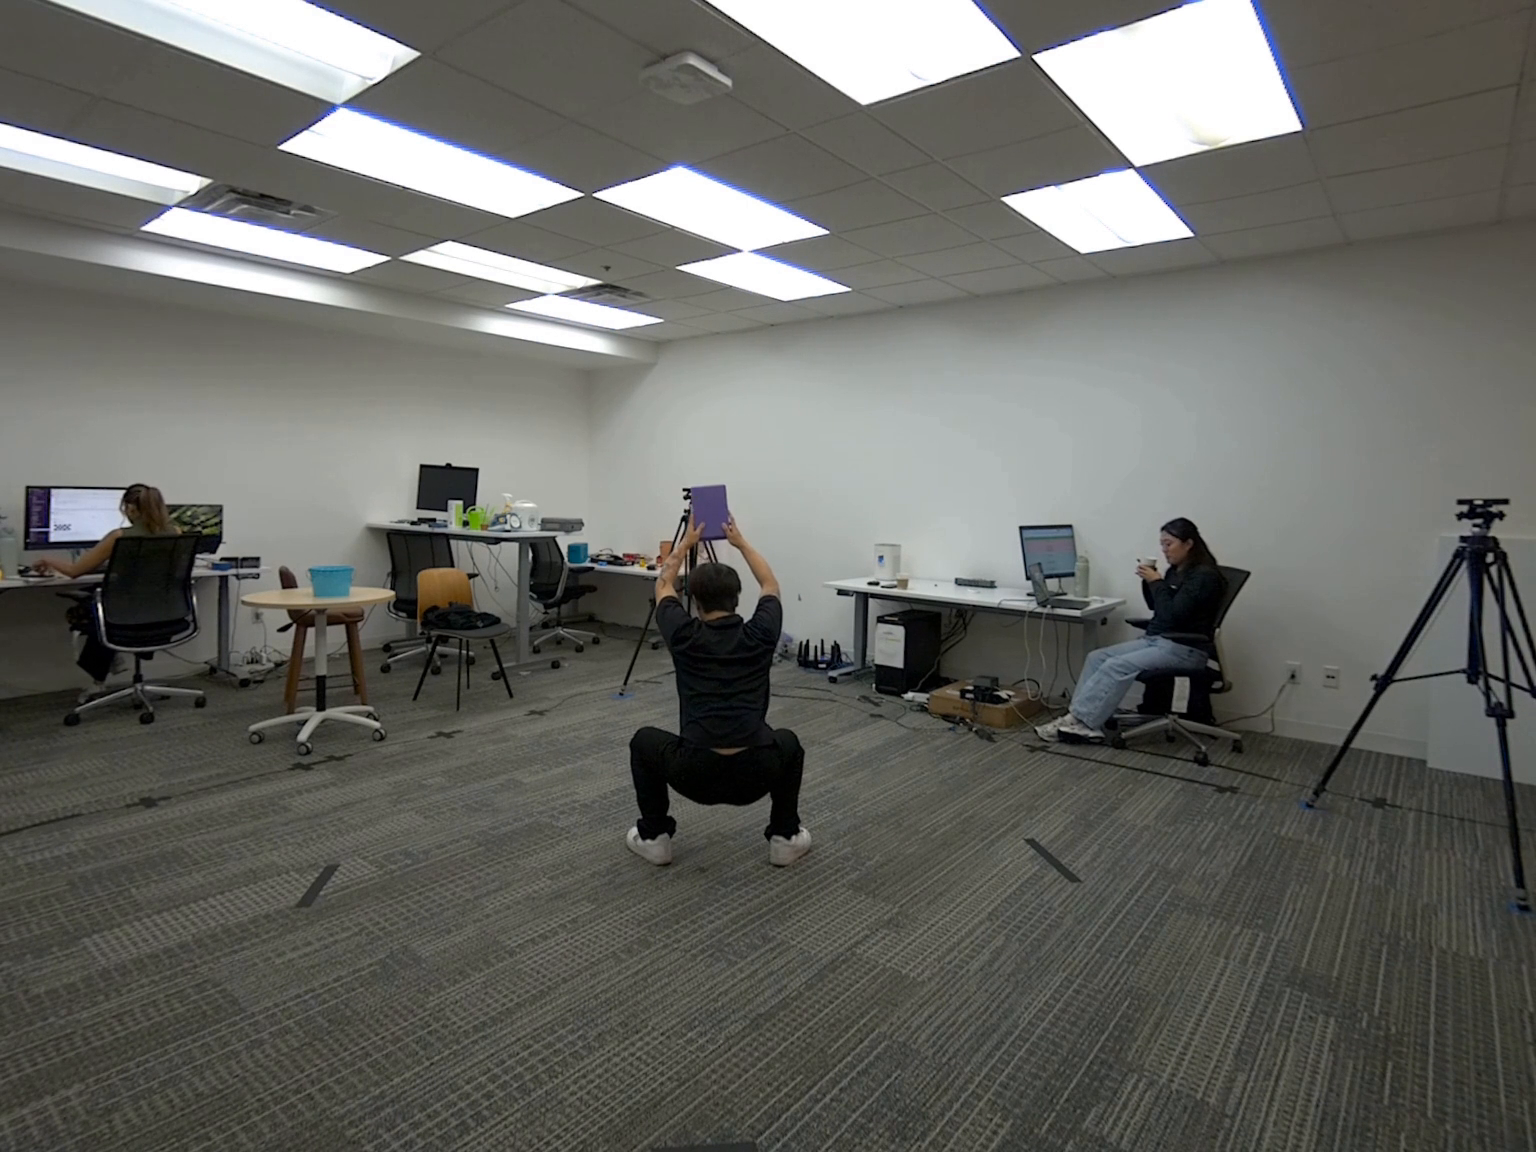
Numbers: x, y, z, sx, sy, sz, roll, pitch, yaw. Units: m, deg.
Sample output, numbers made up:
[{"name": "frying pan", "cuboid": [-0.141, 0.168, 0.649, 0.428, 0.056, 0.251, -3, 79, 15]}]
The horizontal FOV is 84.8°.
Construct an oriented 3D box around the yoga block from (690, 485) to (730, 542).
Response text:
[{"name": "yoga block", "cuboid": [-0.256, -0.275, 3.624, 0.149, 0.231, 0.076, -5, -7, -2]}]
